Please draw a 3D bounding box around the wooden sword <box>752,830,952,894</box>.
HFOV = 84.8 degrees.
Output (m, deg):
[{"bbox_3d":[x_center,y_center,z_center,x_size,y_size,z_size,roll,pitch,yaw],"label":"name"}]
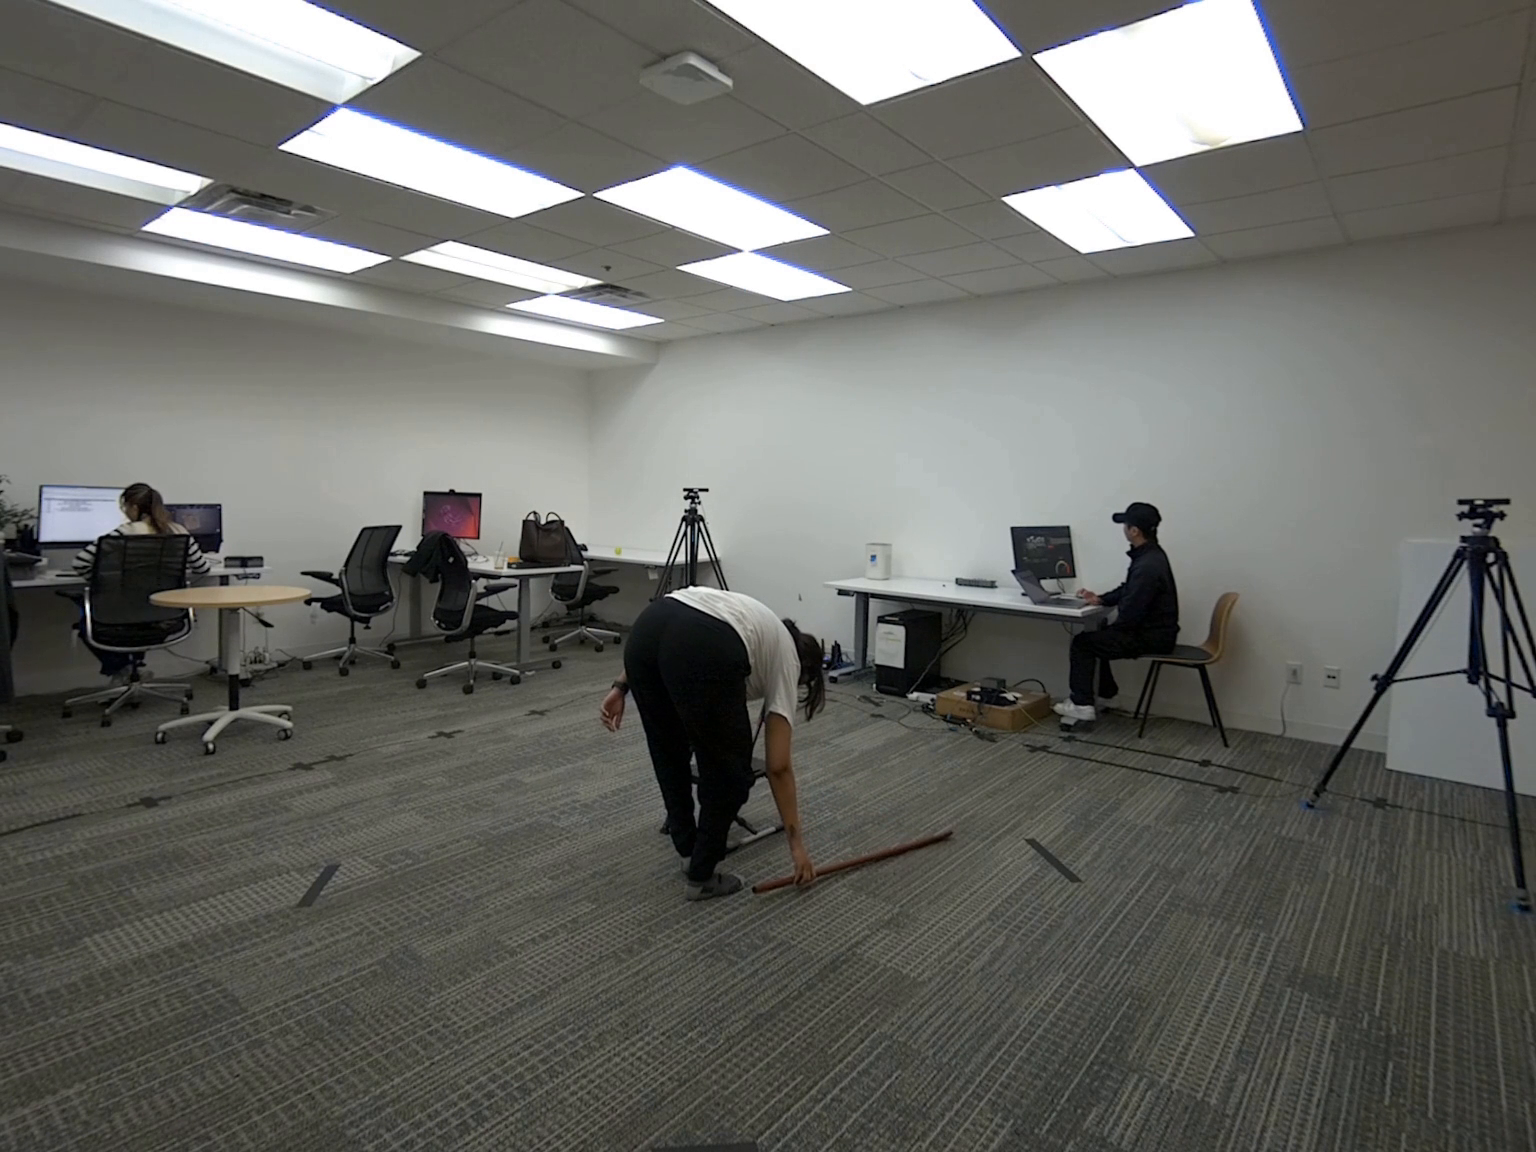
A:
[{"bbox_3d":[0.332,1.057,3.166,0.995,0.053,0.024,-2,-41,-34],"label":"wooden sword"}]
